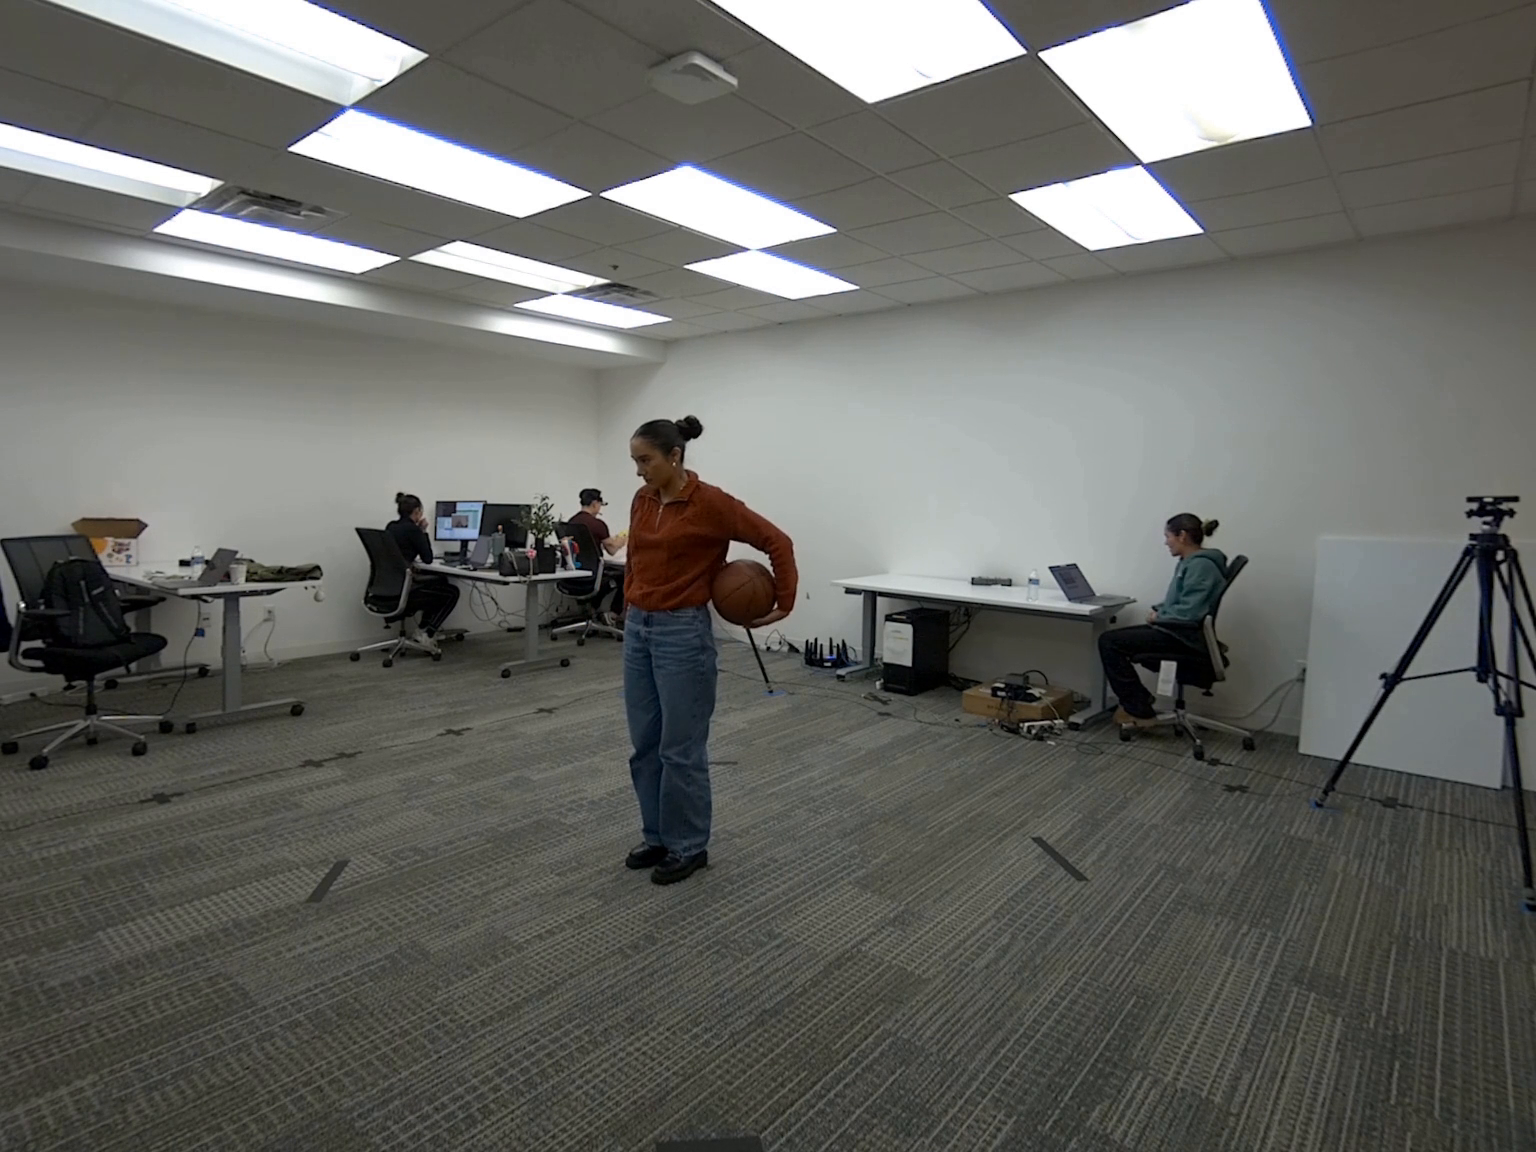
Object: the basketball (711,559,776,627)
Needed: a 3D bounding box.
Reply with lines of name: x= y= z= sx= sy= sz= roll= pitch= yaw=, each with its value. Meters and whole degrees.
basketball: x=-0.109 y=0.056 z=3.003 sx=0.235 sy=0.235 sz=0.237 roll=1 pitch=4 yaw=-2
